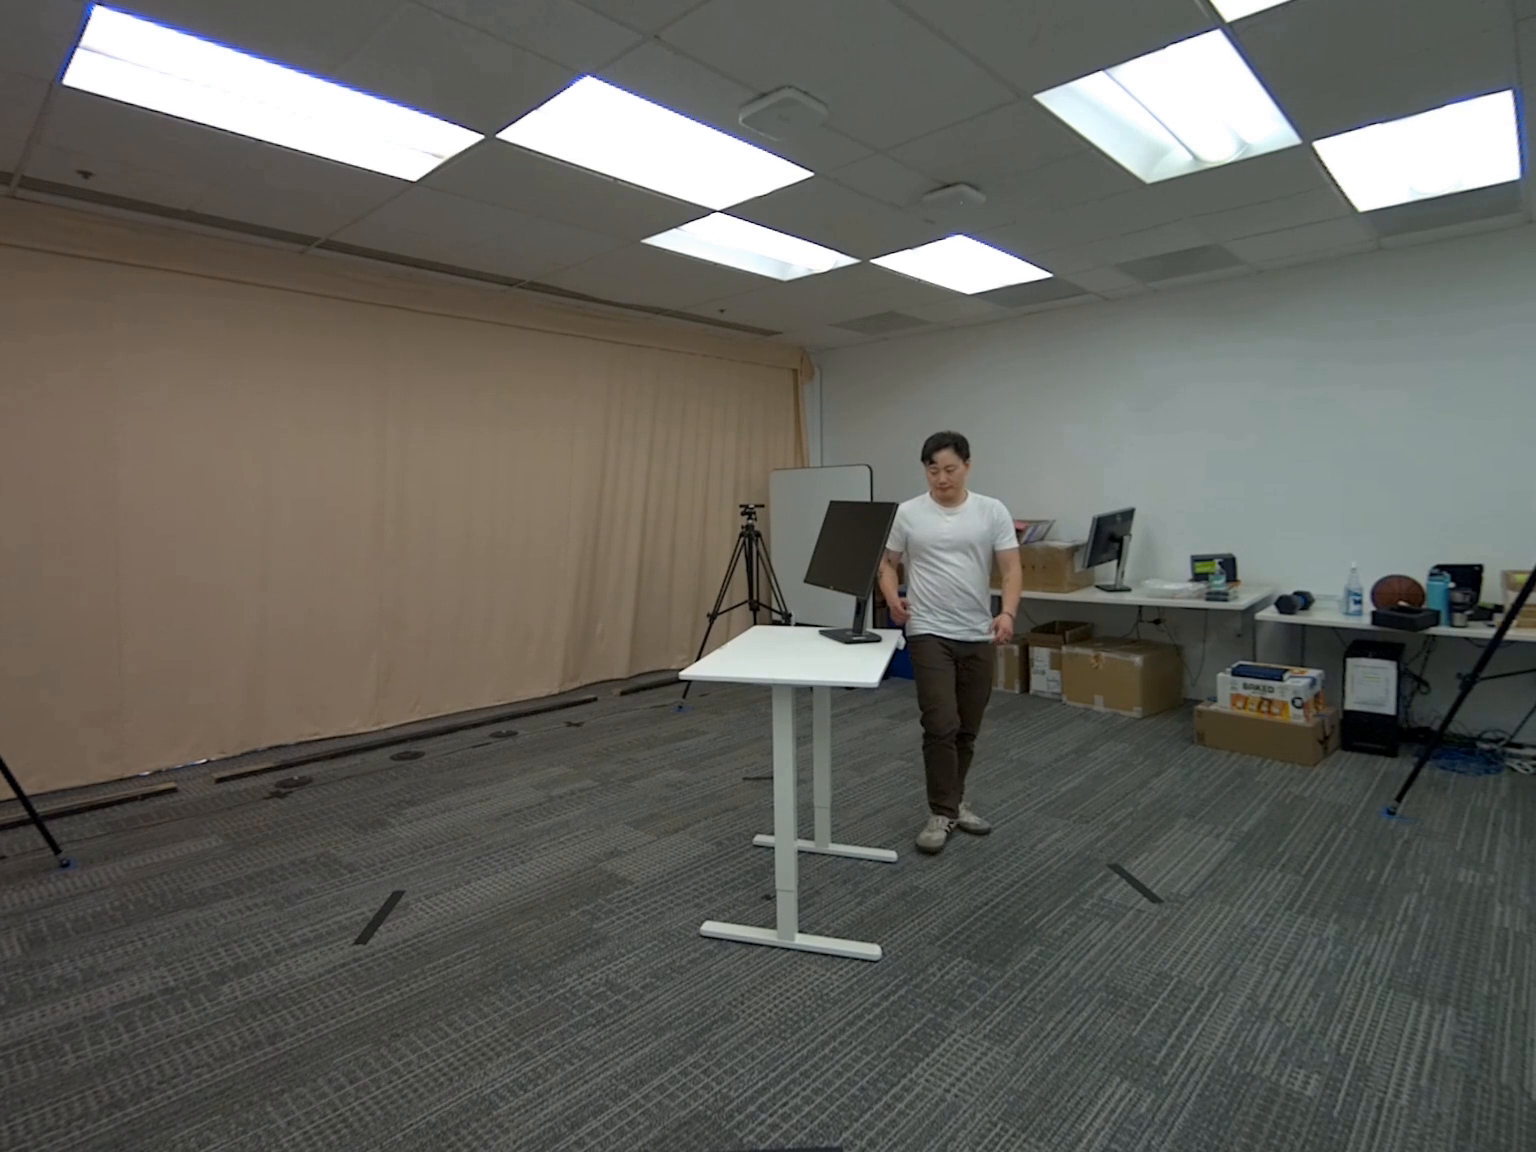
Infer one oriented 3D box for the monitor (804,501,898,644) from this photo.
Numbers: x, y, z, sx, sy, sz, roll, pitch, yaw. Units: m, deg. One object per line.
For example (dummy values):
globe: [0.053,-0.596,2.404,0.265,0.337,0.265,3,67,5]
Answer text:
monitor: [0.331,-0.021,3.177,0.183,0.521,0.552,2,4,-23]
